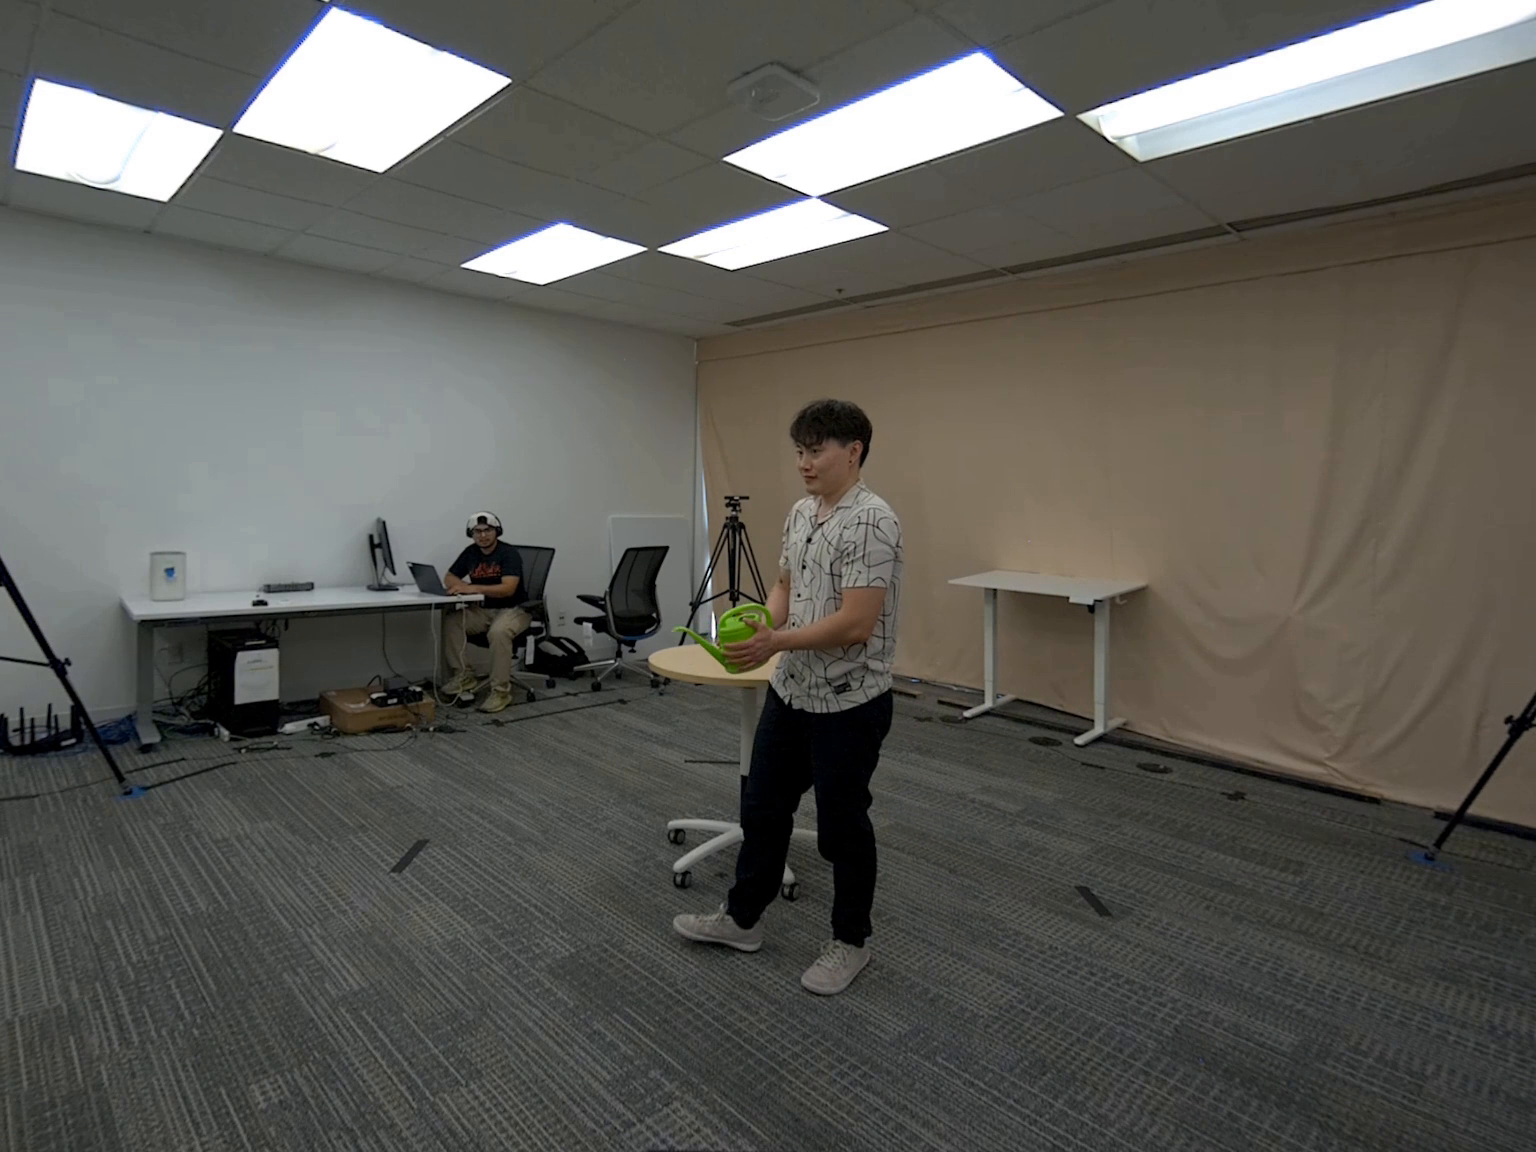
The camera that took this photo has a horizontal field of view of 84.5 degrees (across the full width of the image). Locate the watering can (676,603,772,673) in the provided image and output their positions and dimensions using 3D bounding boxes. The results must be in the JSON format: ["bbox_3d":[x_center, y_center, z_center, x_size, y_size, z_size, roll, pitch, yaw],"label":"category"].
[{"bbox_3d":[-0.115,0.185,2.333,0.278,0.174,0.099,-13,14,0],"label":"watering can"}]
